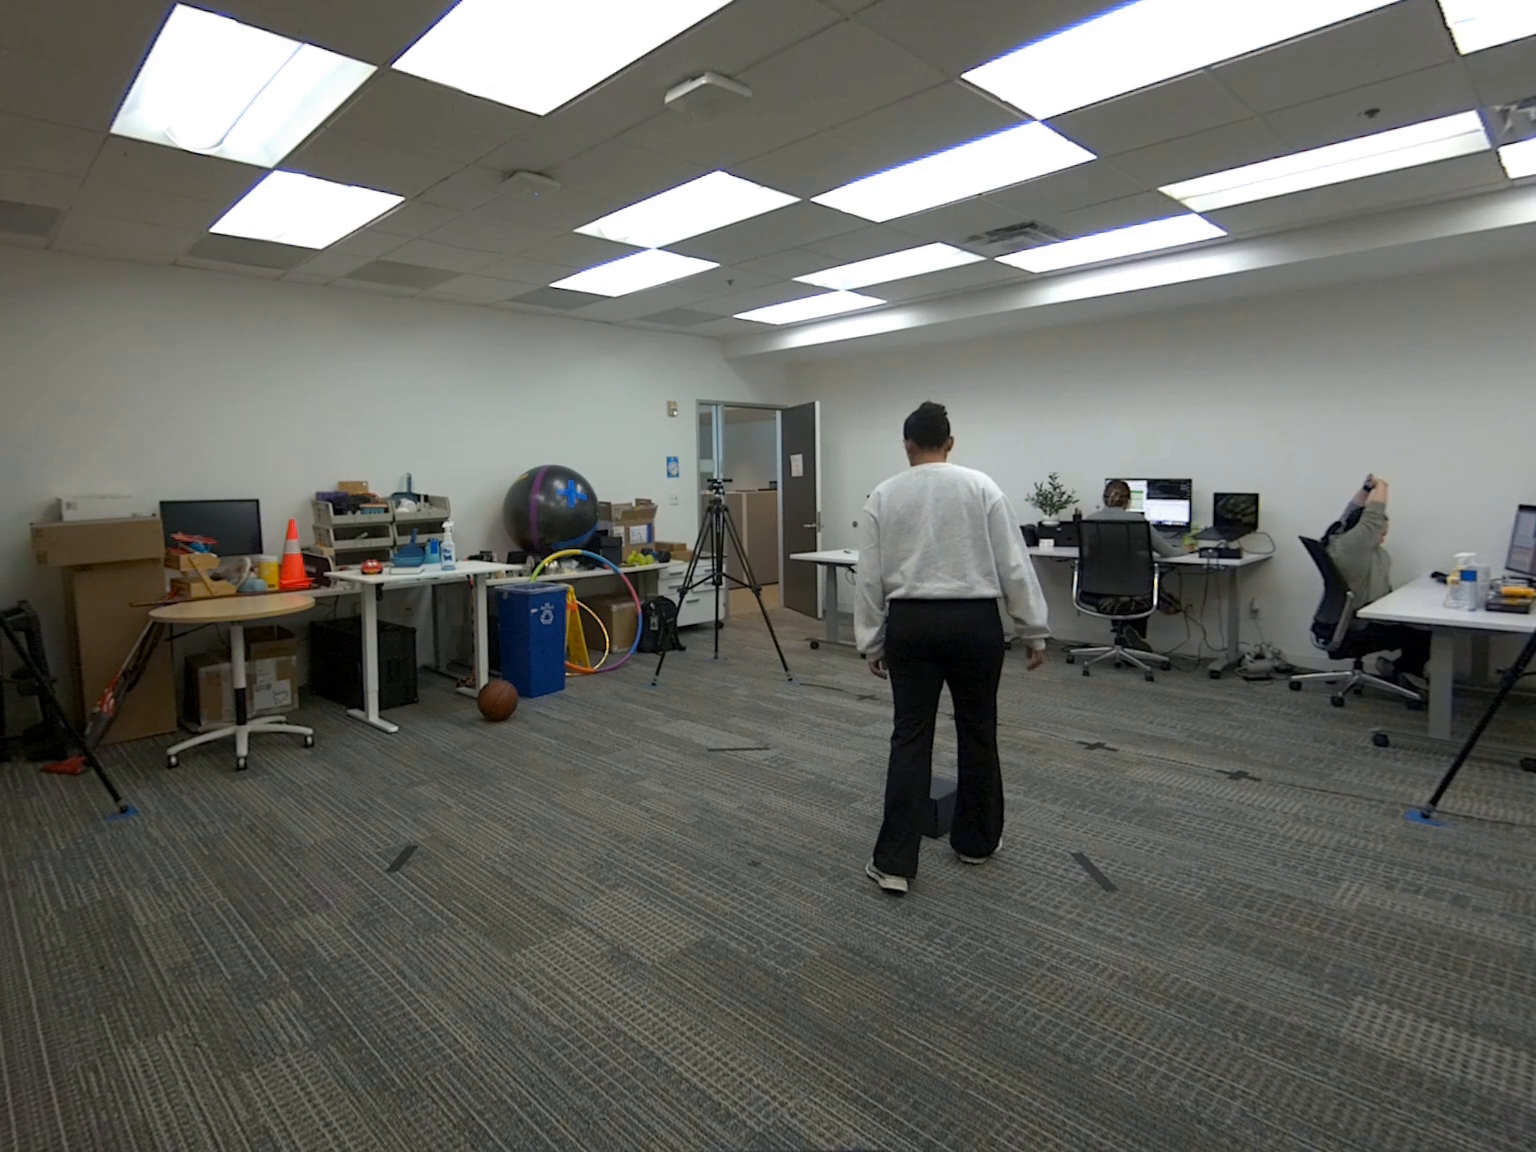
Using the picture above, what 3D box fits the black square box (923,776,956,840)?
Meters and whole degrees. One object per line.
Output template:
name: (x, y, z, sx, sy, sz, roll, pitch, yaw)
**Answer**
black square box: (0.644, 0.916, 3.428, 0.235, 0.155, 0.211, 4, 8, 45)
